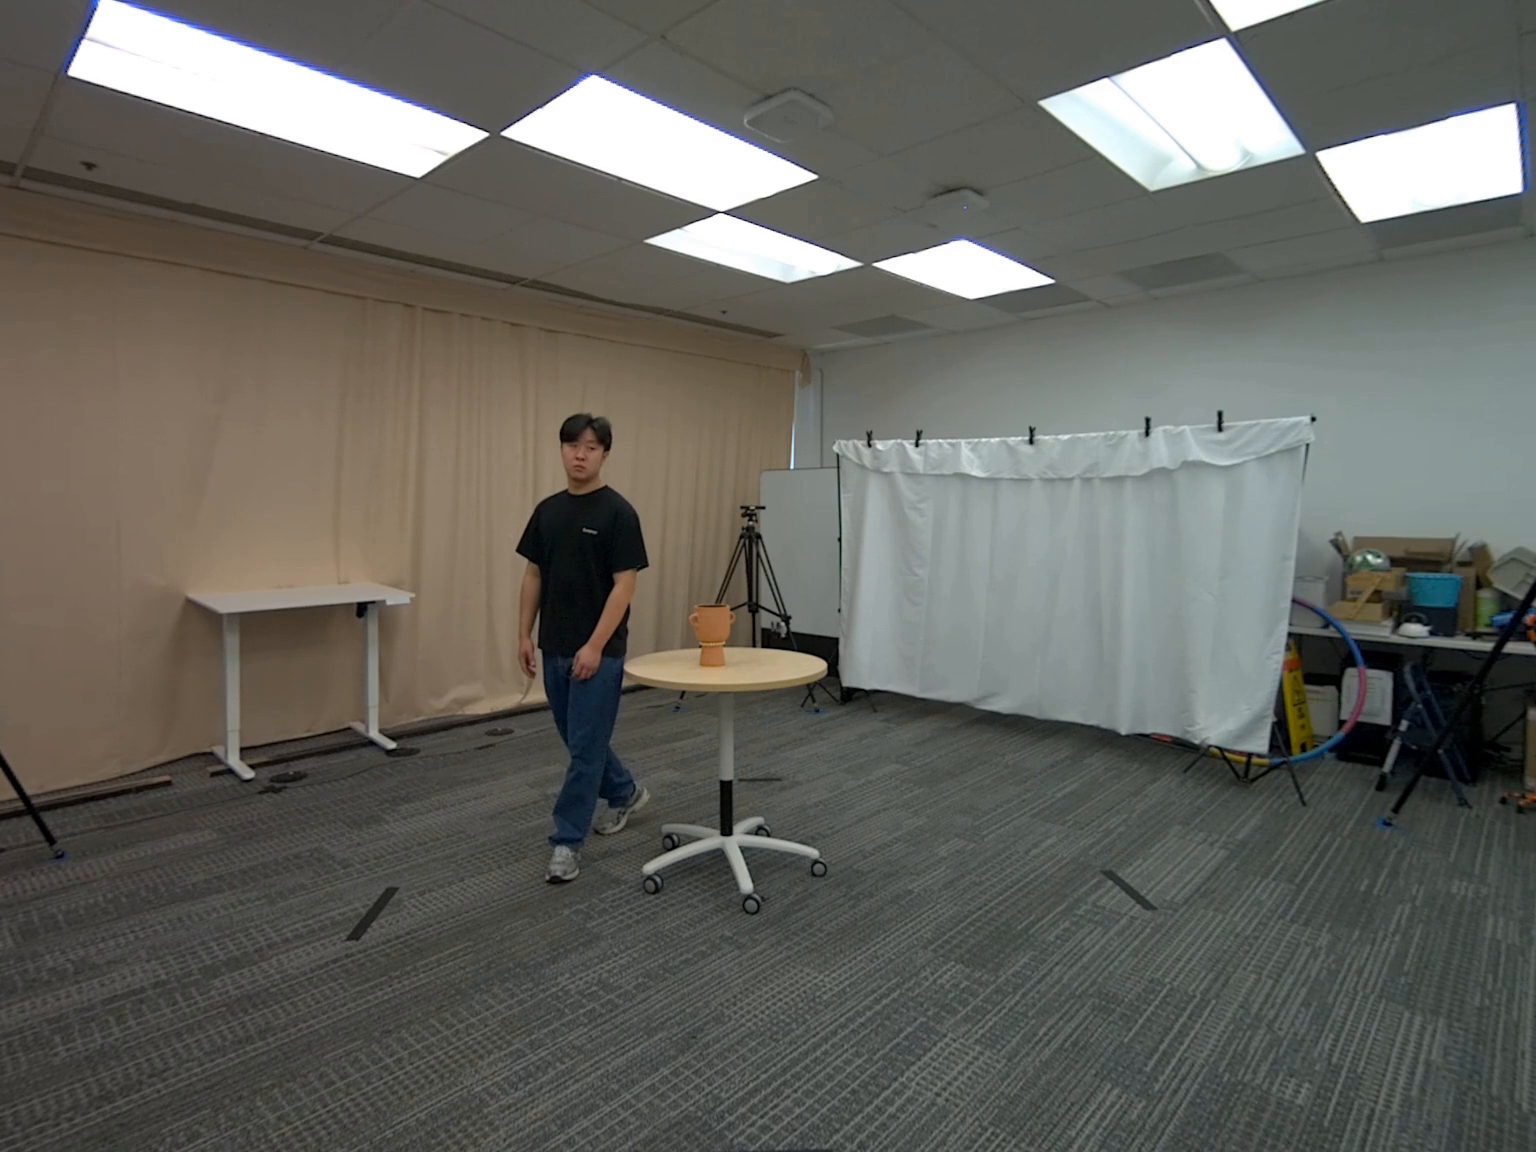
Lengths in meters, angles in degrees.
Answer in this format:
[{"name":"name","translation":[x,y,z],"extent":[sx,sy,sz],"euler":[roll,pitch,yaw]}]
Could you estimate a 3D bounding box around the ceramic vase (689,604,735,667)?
[{"name":"ceramic vase","translation":[-0.210,0.226,3.164],"extent":[0.160,0.219,0.133],"euler":[0,3,8]}]
